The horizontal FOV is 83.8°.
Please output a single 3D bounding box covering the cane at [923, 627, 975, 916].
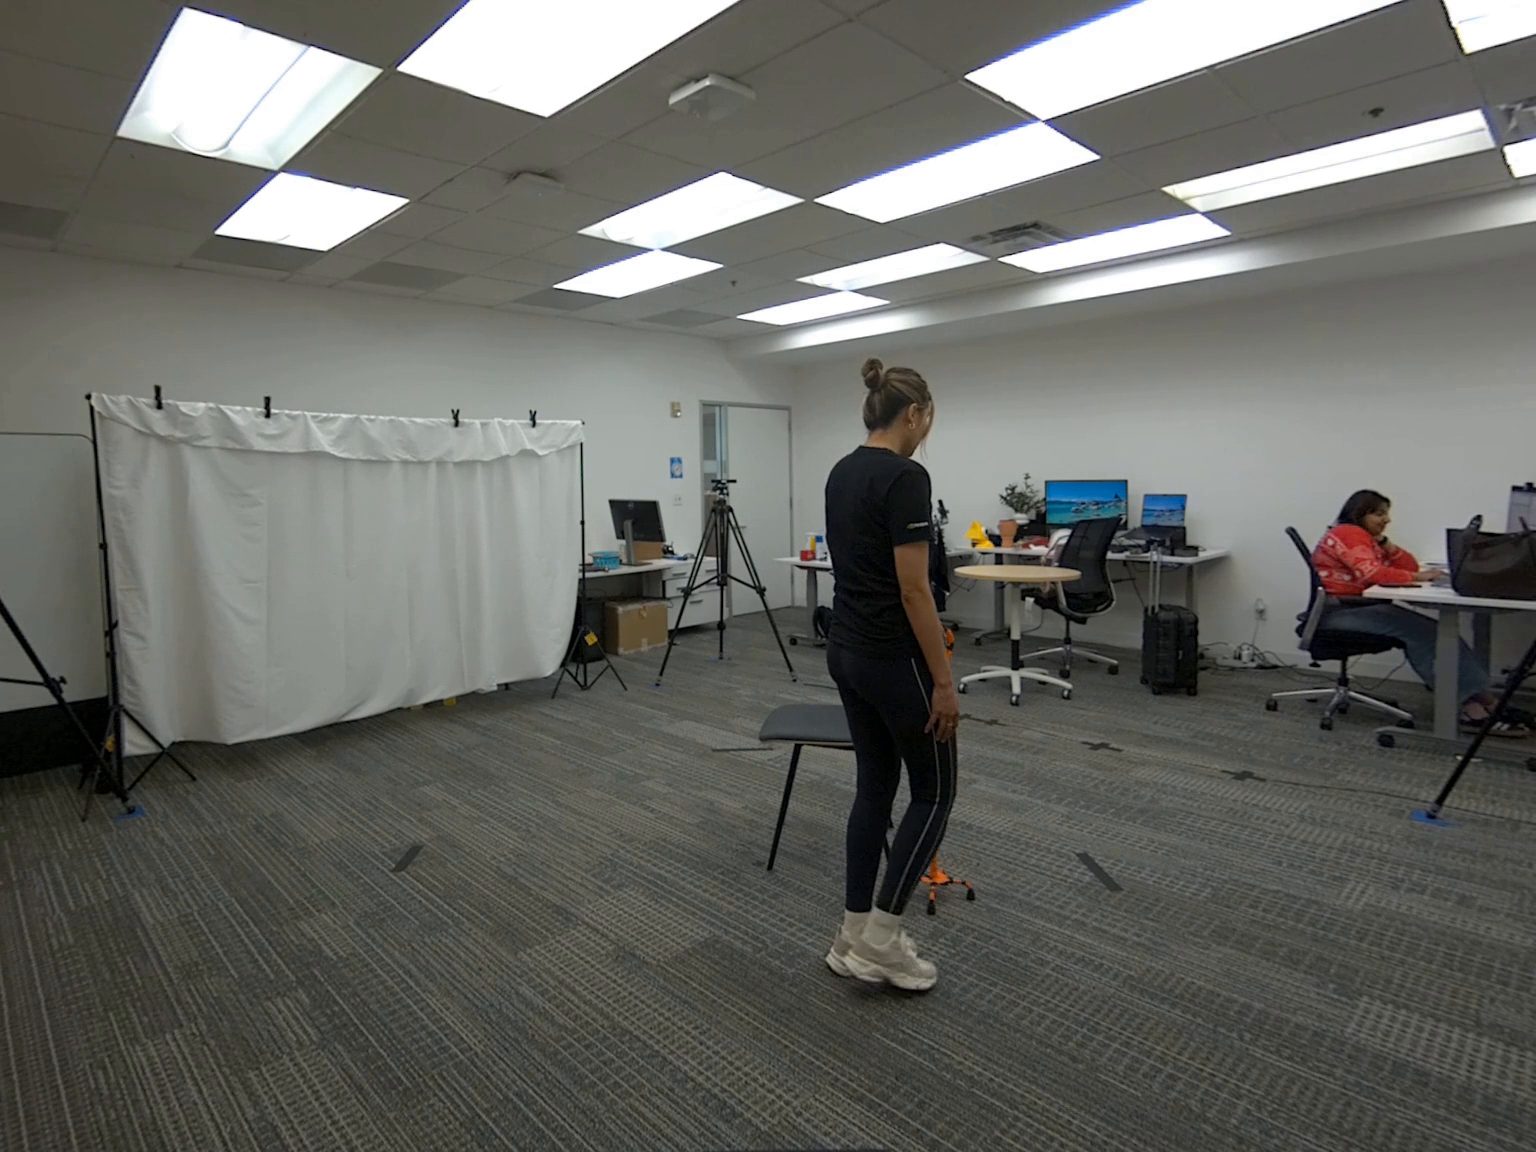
[{"bbox_3d":[0.566,0.620,2.811,0.201,0.907,0.155,-1,1,-32],"label":"cane"}]
